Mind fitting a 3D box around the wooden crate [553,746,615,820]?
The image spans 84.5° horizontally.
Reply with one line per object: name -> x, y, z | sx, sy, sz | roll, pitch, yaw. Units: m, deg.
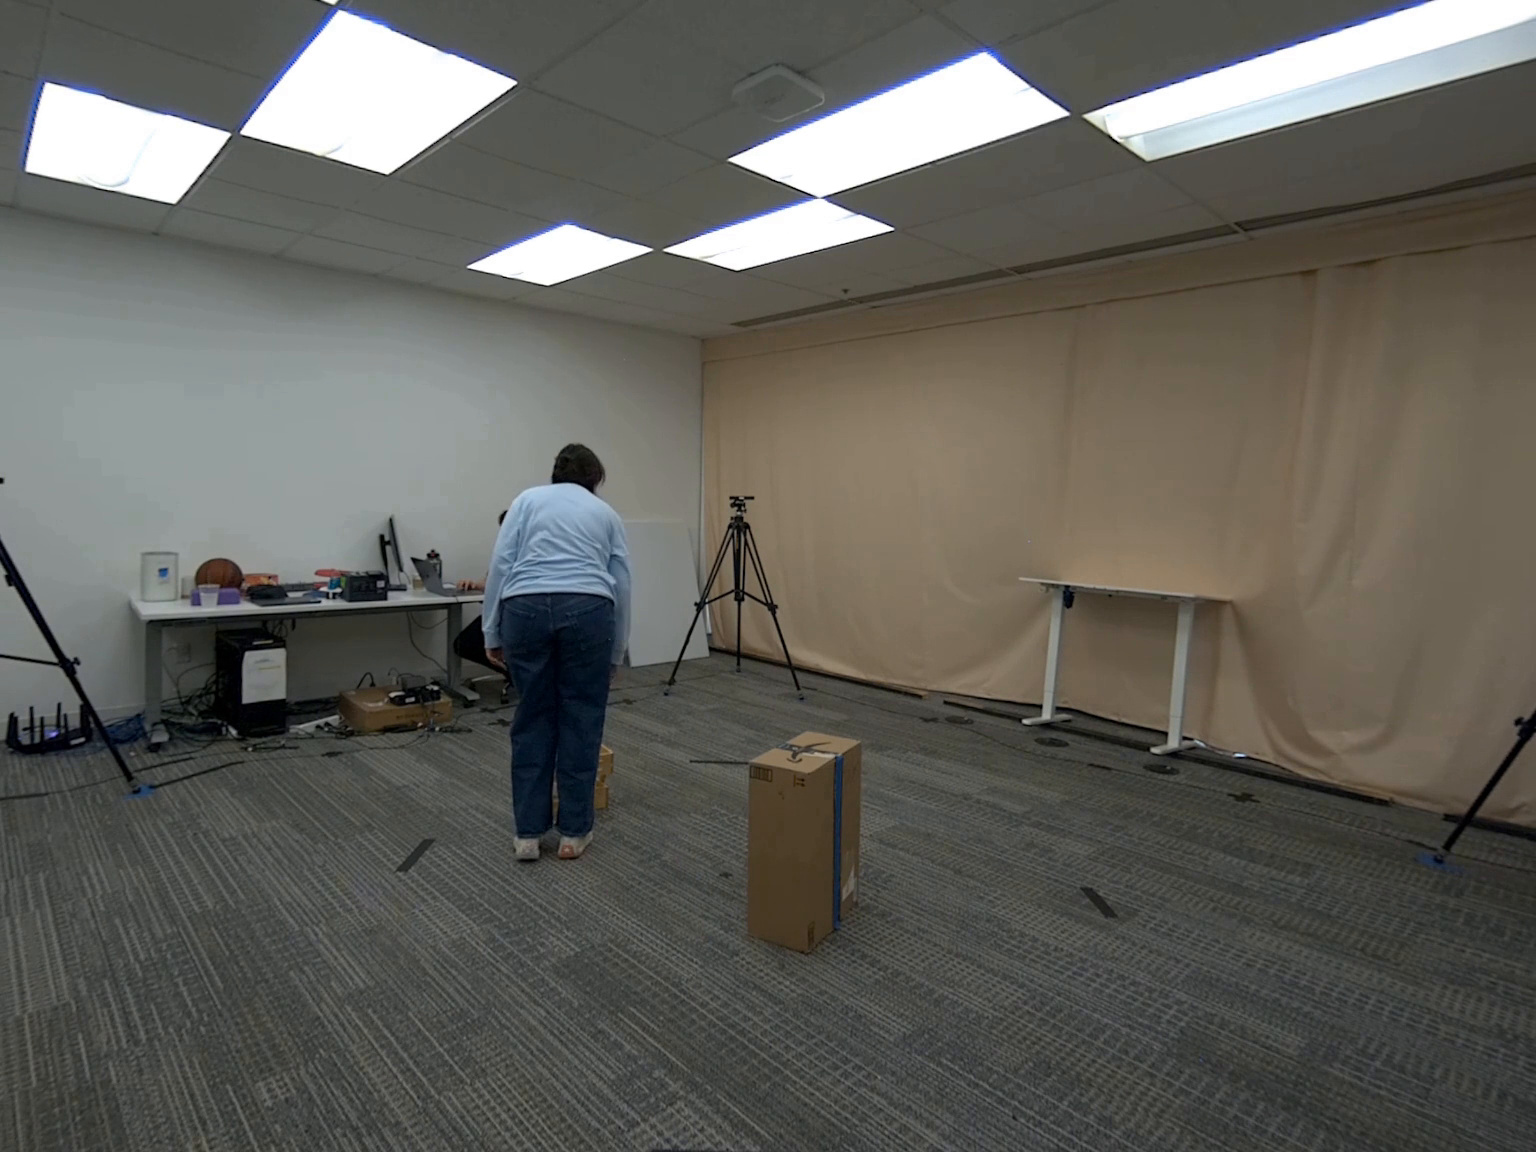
wooden crate -> -0.901, 0.900, 3.765 | 0.317, 0.272, 0.309 | -1, 5, -32
